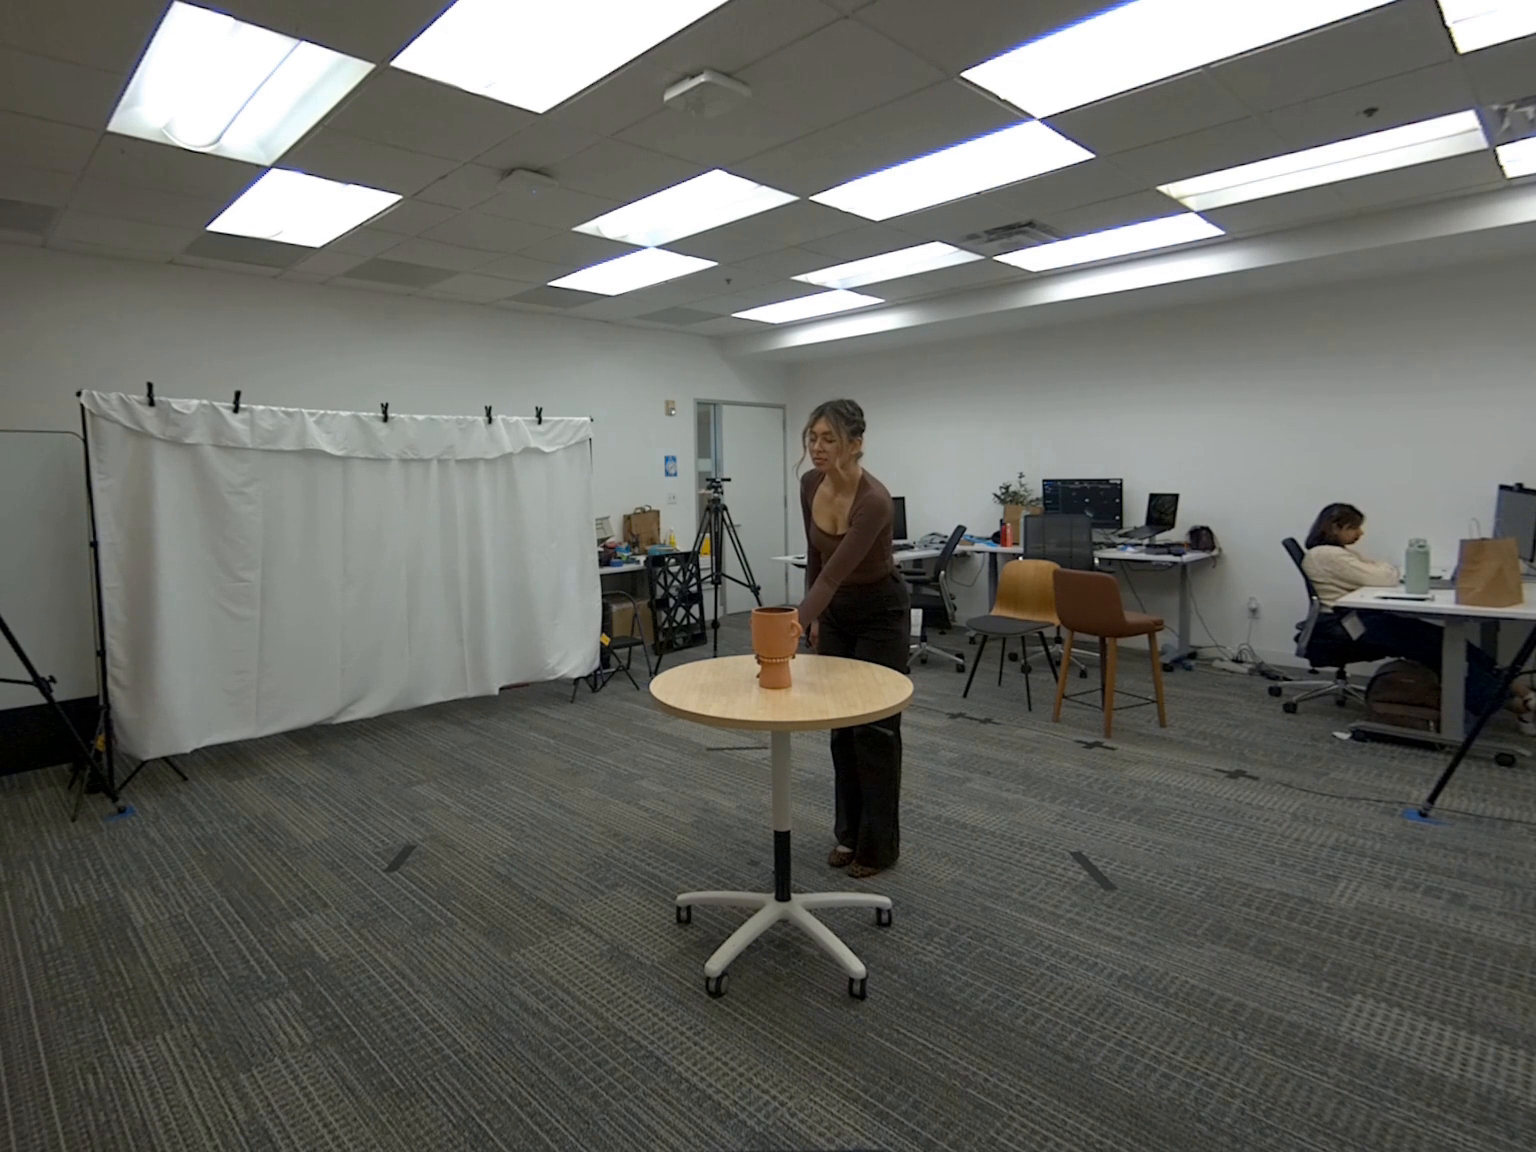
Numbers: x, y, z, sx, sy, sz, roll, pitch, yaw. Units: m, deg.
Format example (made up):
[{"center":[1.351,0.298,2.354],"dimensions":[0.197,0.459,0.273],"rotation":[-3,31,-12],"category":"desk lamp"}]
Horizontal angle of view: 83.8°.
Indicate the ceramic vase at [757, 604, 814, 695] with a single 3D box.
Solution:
[{"center":[0.047,0.207,2.466],"dimensions":[0.134,0.218,0.161],"rotation":[-2,7,-7],"category":"ceramic vase"}]
